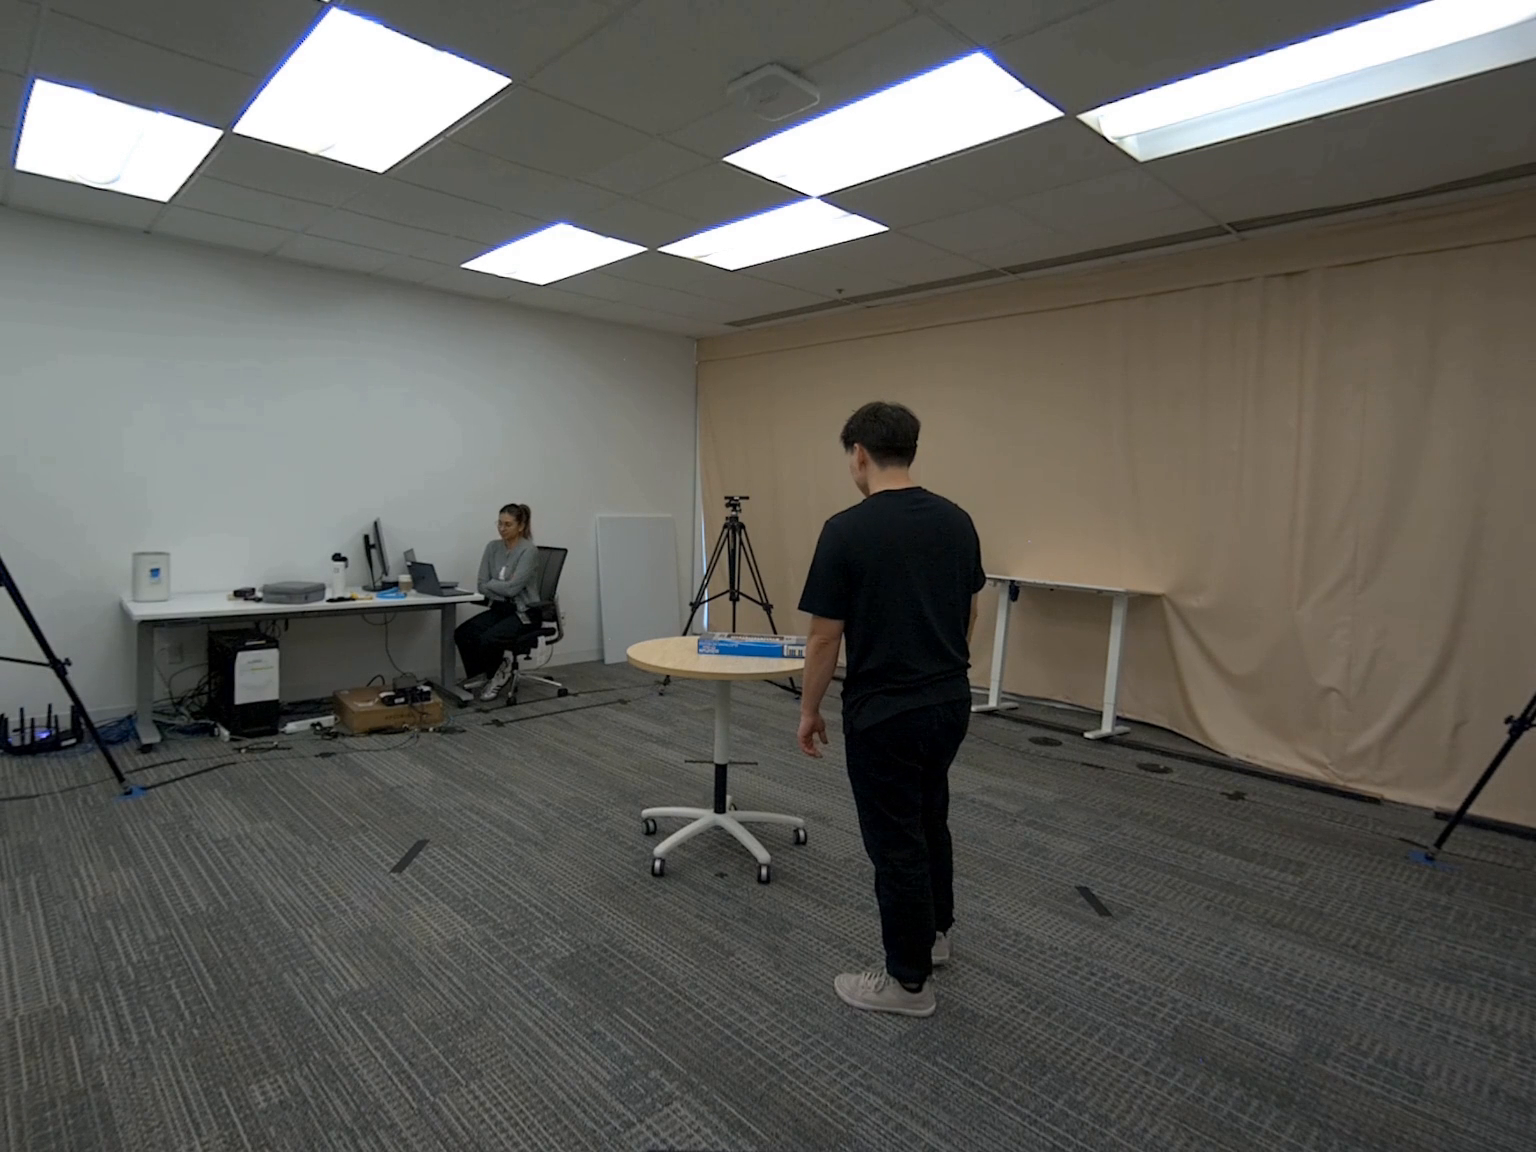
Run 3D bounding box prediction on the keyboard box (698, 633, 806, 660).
[{"bbox_3d":[-0.059,0.273,3.336,0.438,0.059,0.176,2,5,3],"label":"keyboard box"}]
